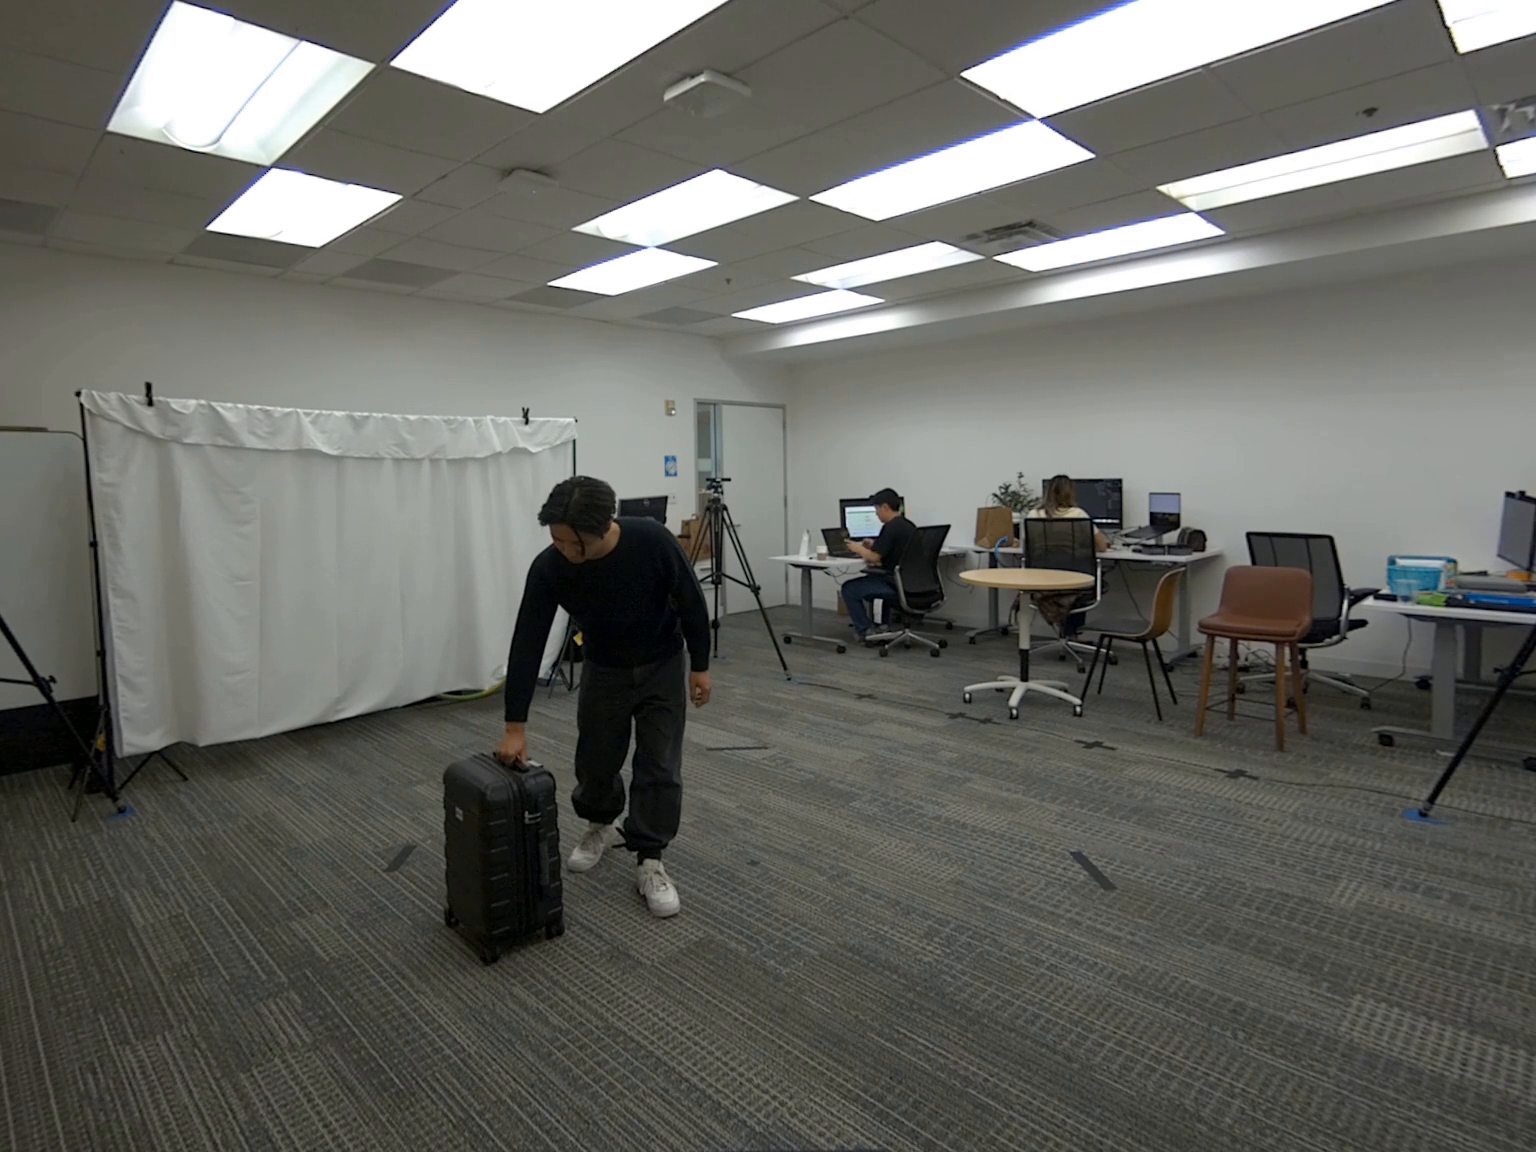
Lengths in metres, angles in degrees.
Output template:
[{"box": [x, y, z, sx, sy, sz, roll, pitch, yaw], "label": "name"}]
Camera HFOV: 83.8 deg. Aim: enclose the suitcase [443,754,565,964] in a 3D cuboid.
[{"box": [-0.826, 0.837, 2.639, 0.242, 0.546, 0.387, -6, 8, -40], "label": "suitcase"}]
